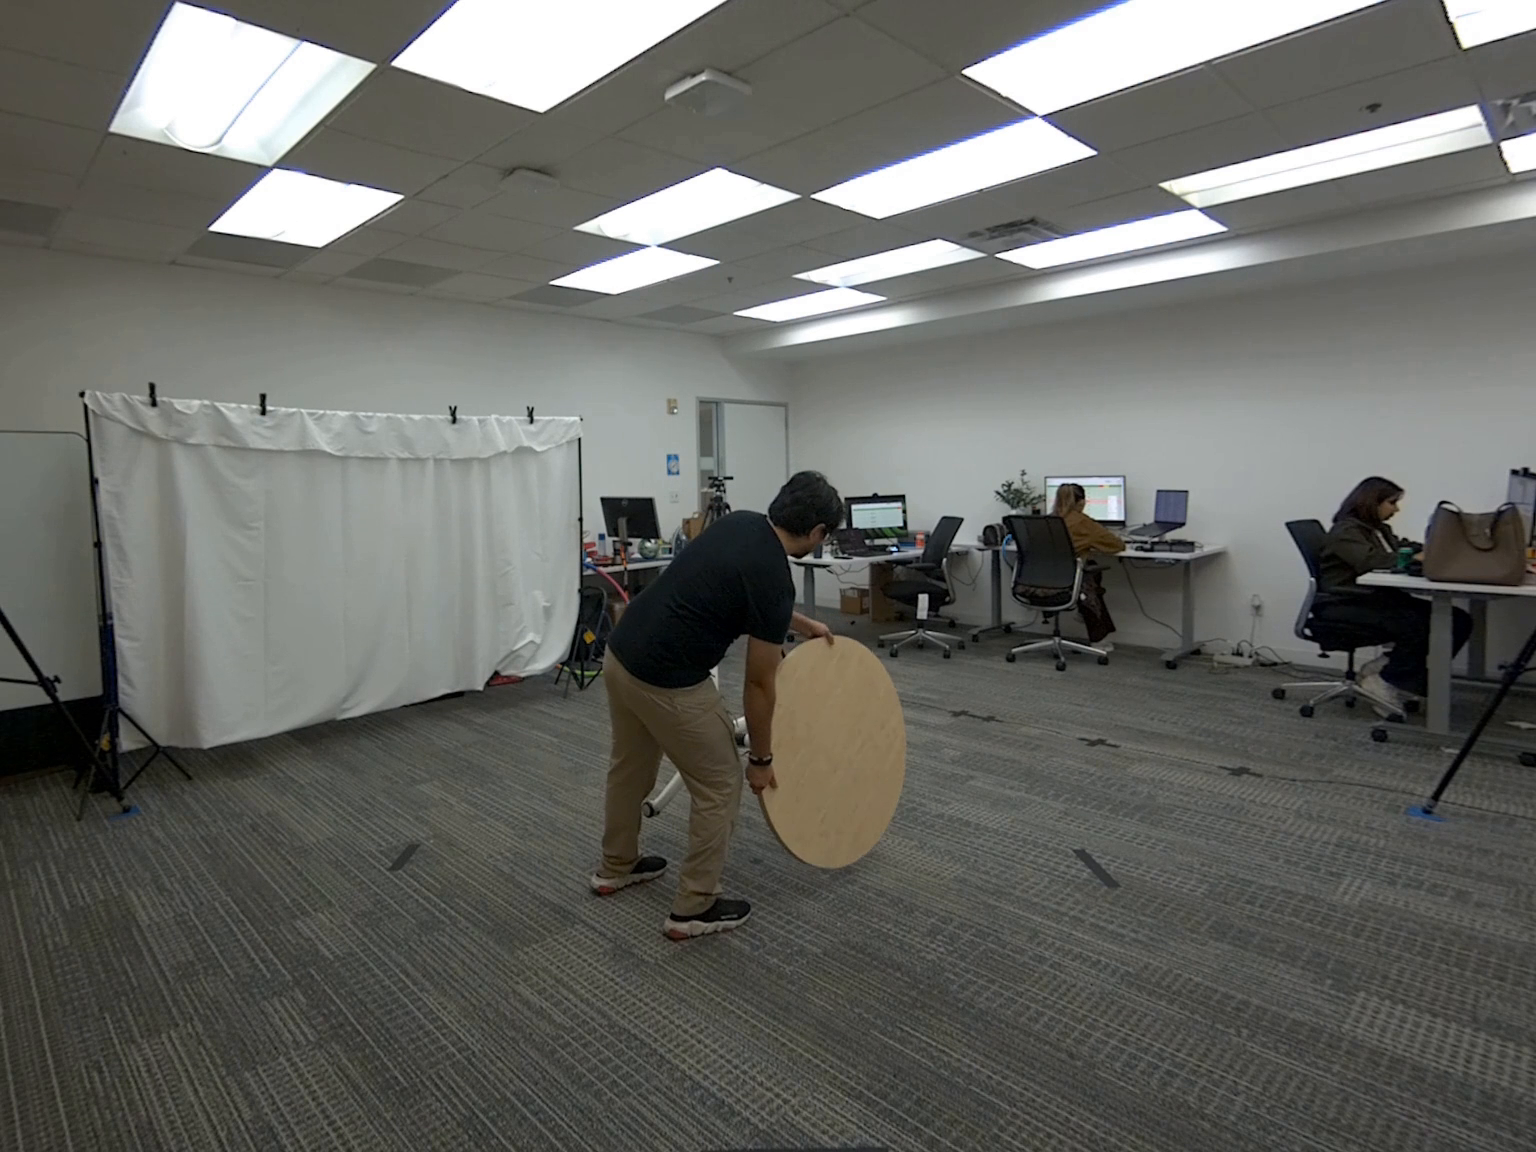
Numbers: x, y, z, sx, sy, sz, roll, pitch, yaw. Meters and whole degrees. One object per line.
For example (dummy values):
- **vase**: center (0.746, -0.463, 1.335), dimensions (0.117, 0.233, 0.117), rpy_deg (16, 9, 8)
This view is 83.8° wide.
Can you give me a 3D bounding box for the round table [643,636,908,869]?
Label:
- **round table**: center (-0.031, 0.612, 3.202), dimensions (0.764, 0.786, 0.806), rpy_deg (-6, -1, -44)
